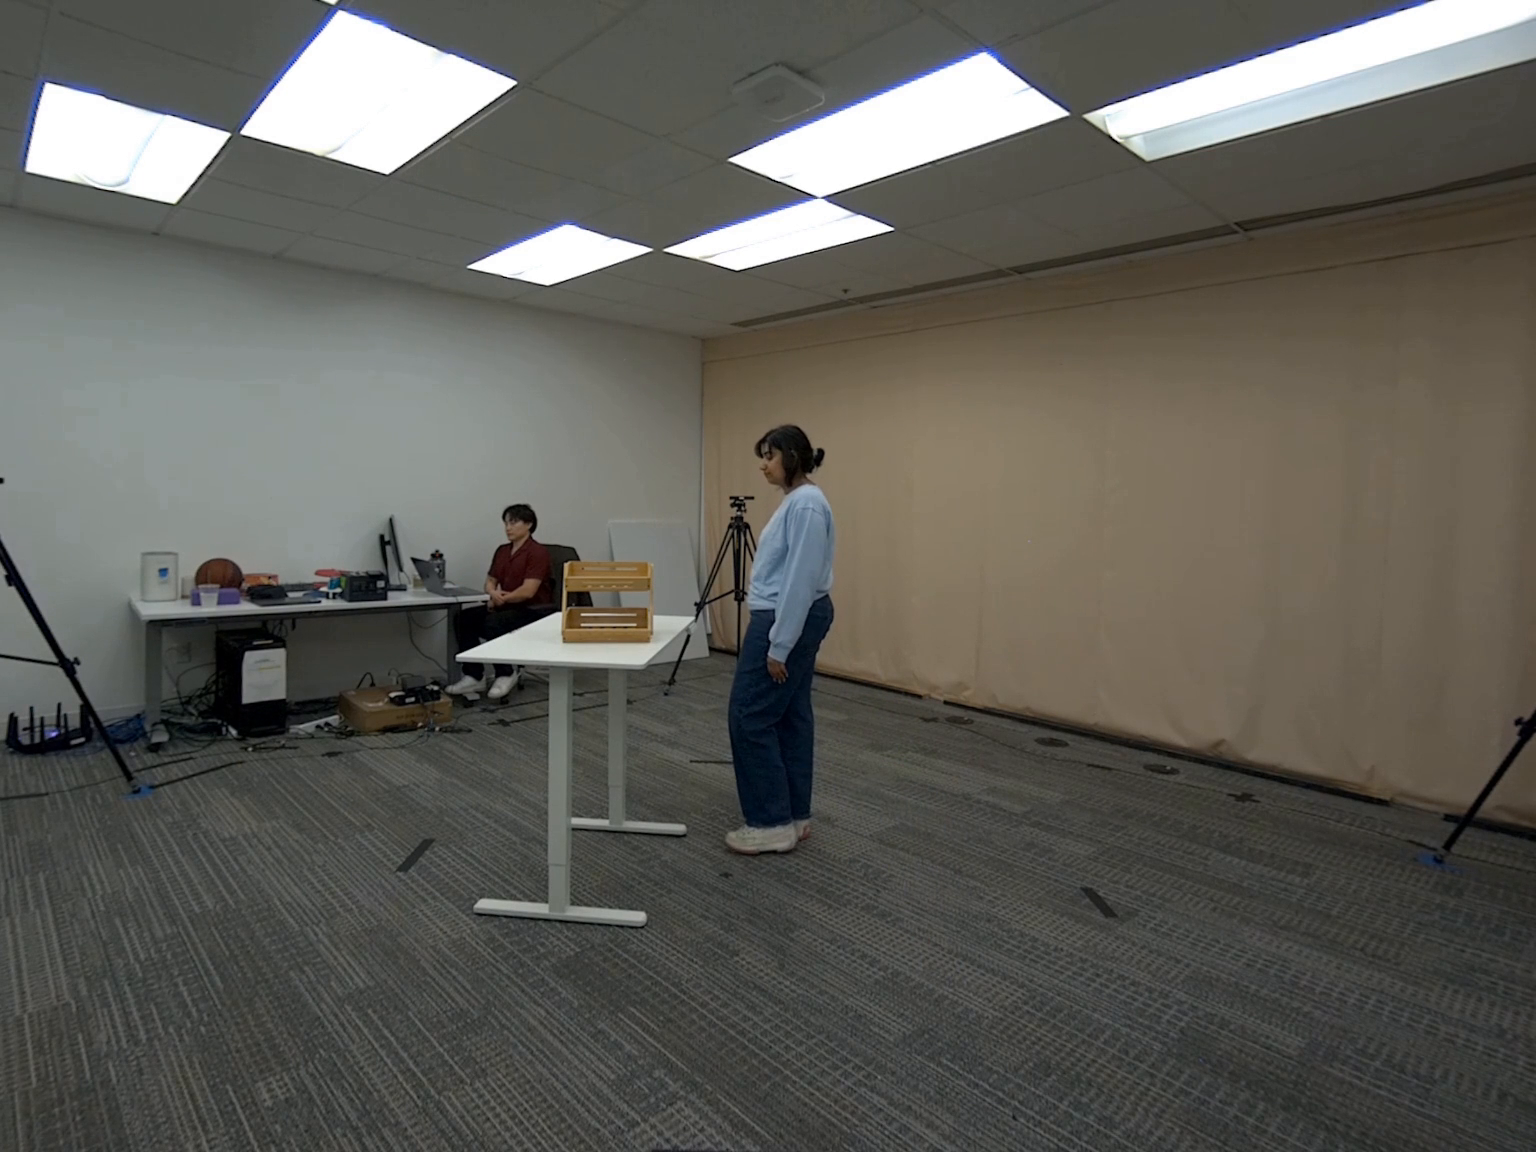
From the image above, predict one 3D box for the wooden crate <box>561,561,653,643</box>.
[{"bbox_3d":[-0.587,0.086,3.029,0.322,0.273,0.304,0,3,-8],"label":"wooden crate"}]
